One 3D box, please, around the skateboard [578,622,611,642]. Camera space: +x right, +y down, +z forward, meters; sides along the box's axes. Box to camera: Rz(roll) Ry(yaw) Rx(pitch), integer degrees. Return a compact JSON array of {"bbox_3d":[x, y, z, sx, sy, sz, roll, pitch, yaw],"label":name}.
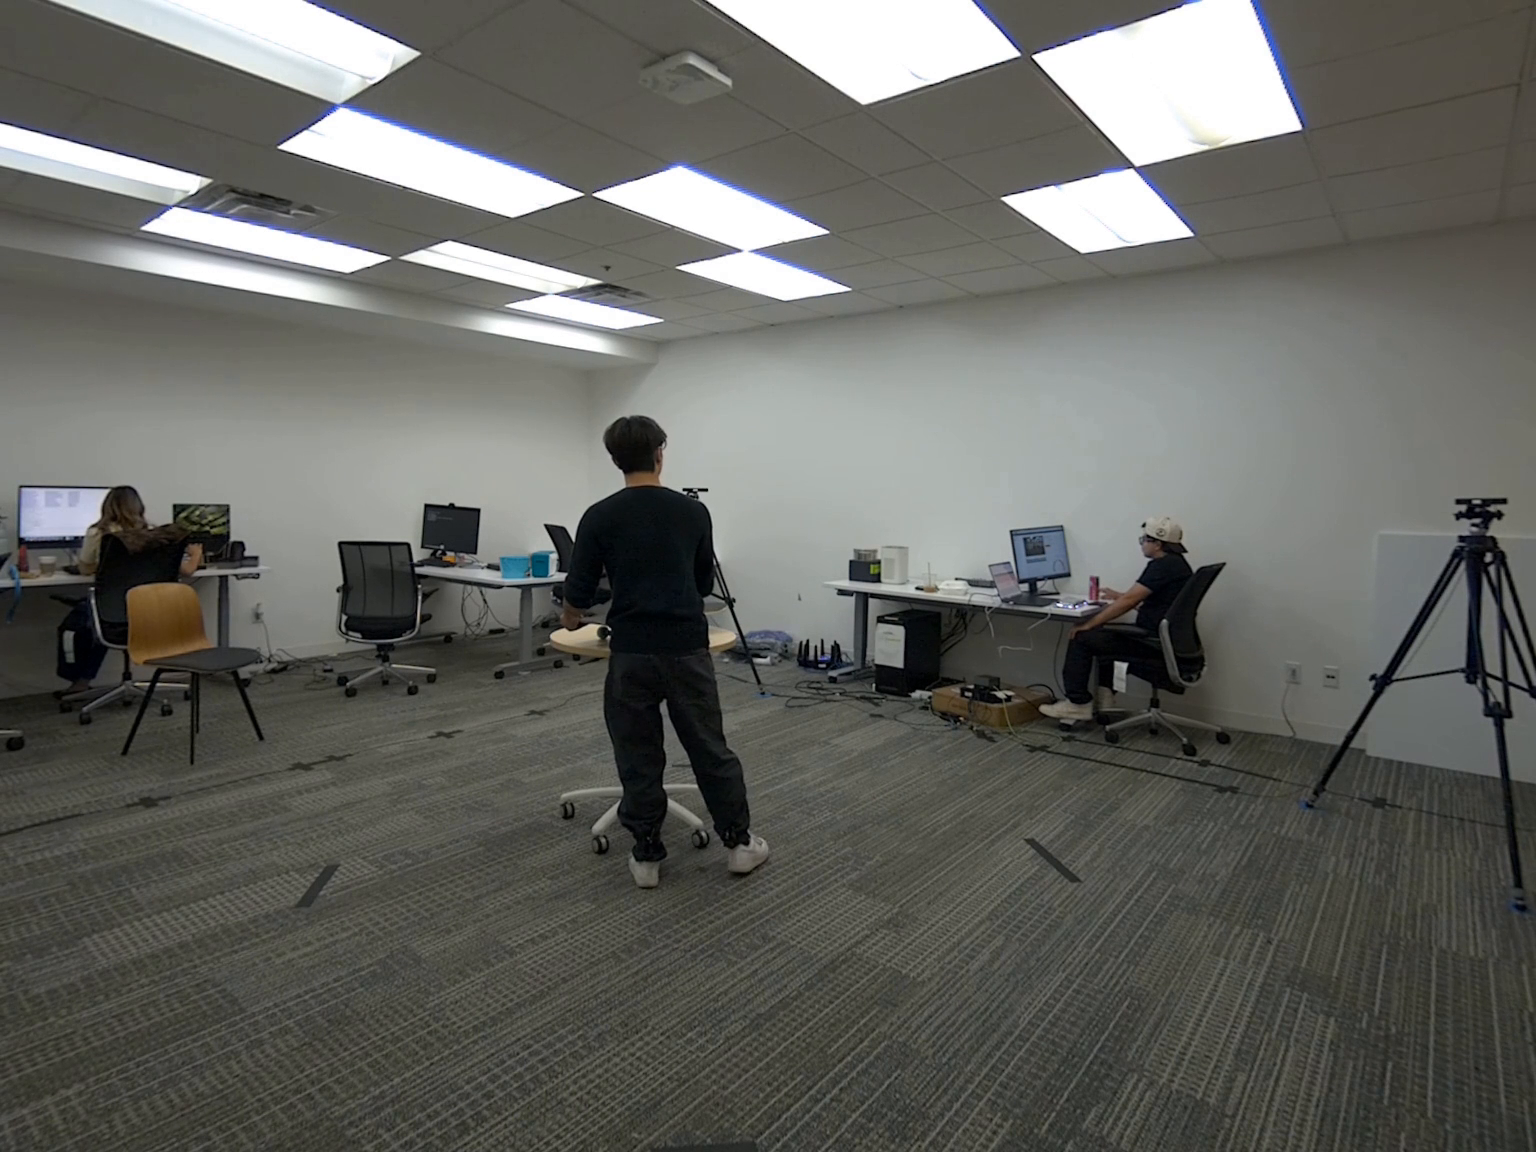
[{"bbox_3d":[-0.482,0.194,3.493,0.200,0.110,0.762,5,7,43],"label":"skateboard"}]
